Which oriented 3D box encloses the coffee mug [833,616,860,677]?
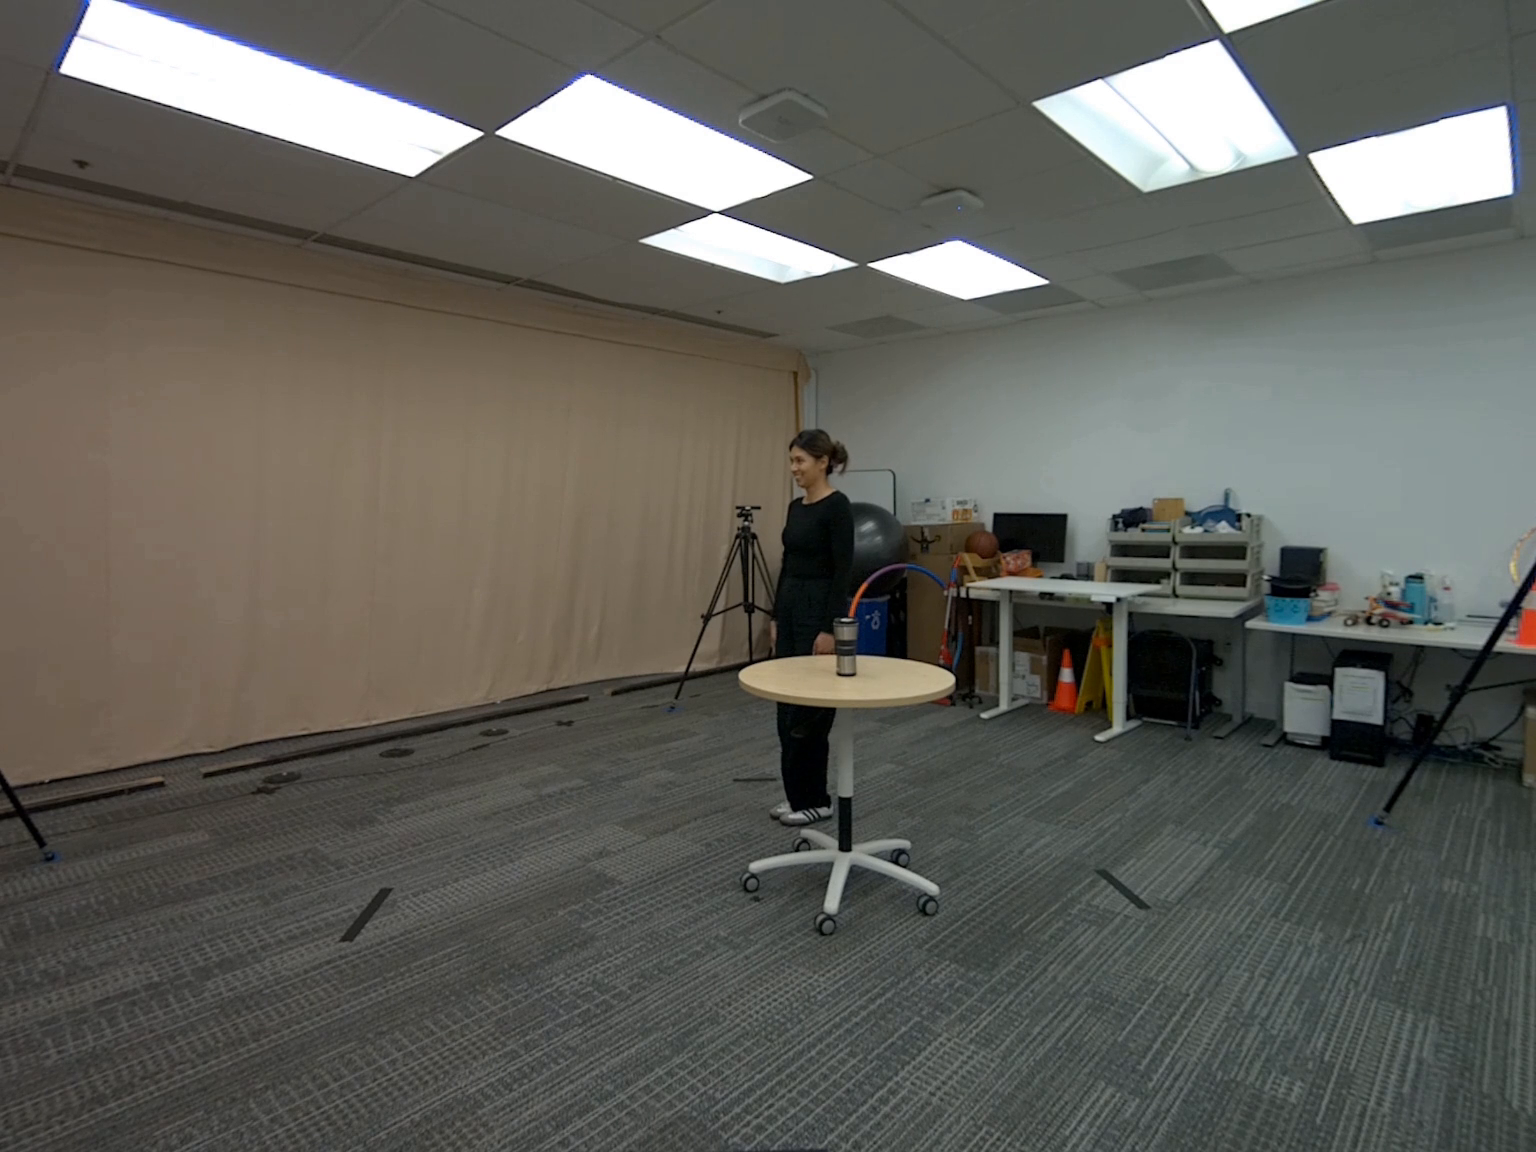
[{"bbox_3d":[0.286,0.256,3.037,0.090,0.202,0.119,-5,4,38],"label":"coffee mug"}]
